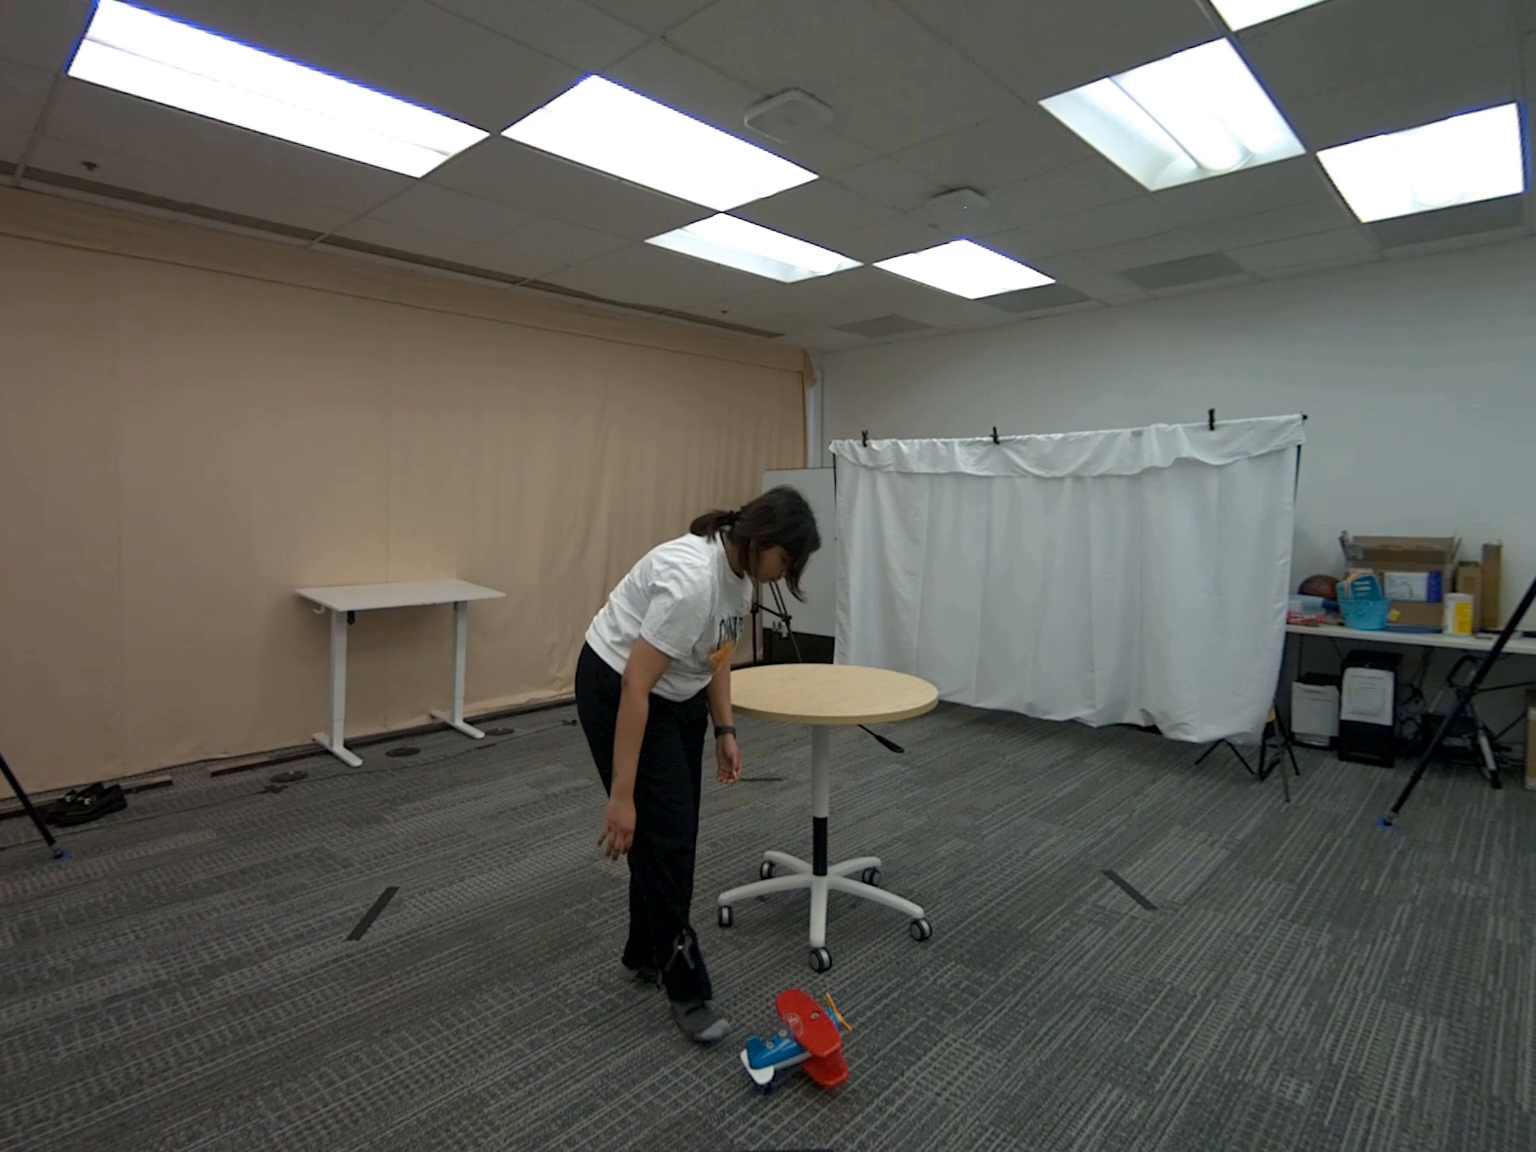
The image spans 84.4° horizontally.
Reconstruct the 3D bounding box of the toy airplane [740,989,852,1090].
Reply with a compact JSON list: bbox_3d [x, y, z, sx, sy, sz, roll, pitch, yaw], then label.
[{"bbox_3d":[0.082,1.153,2.027,0.259,0.156,0.251,5,7,40],"label":"toy airplane"}]
